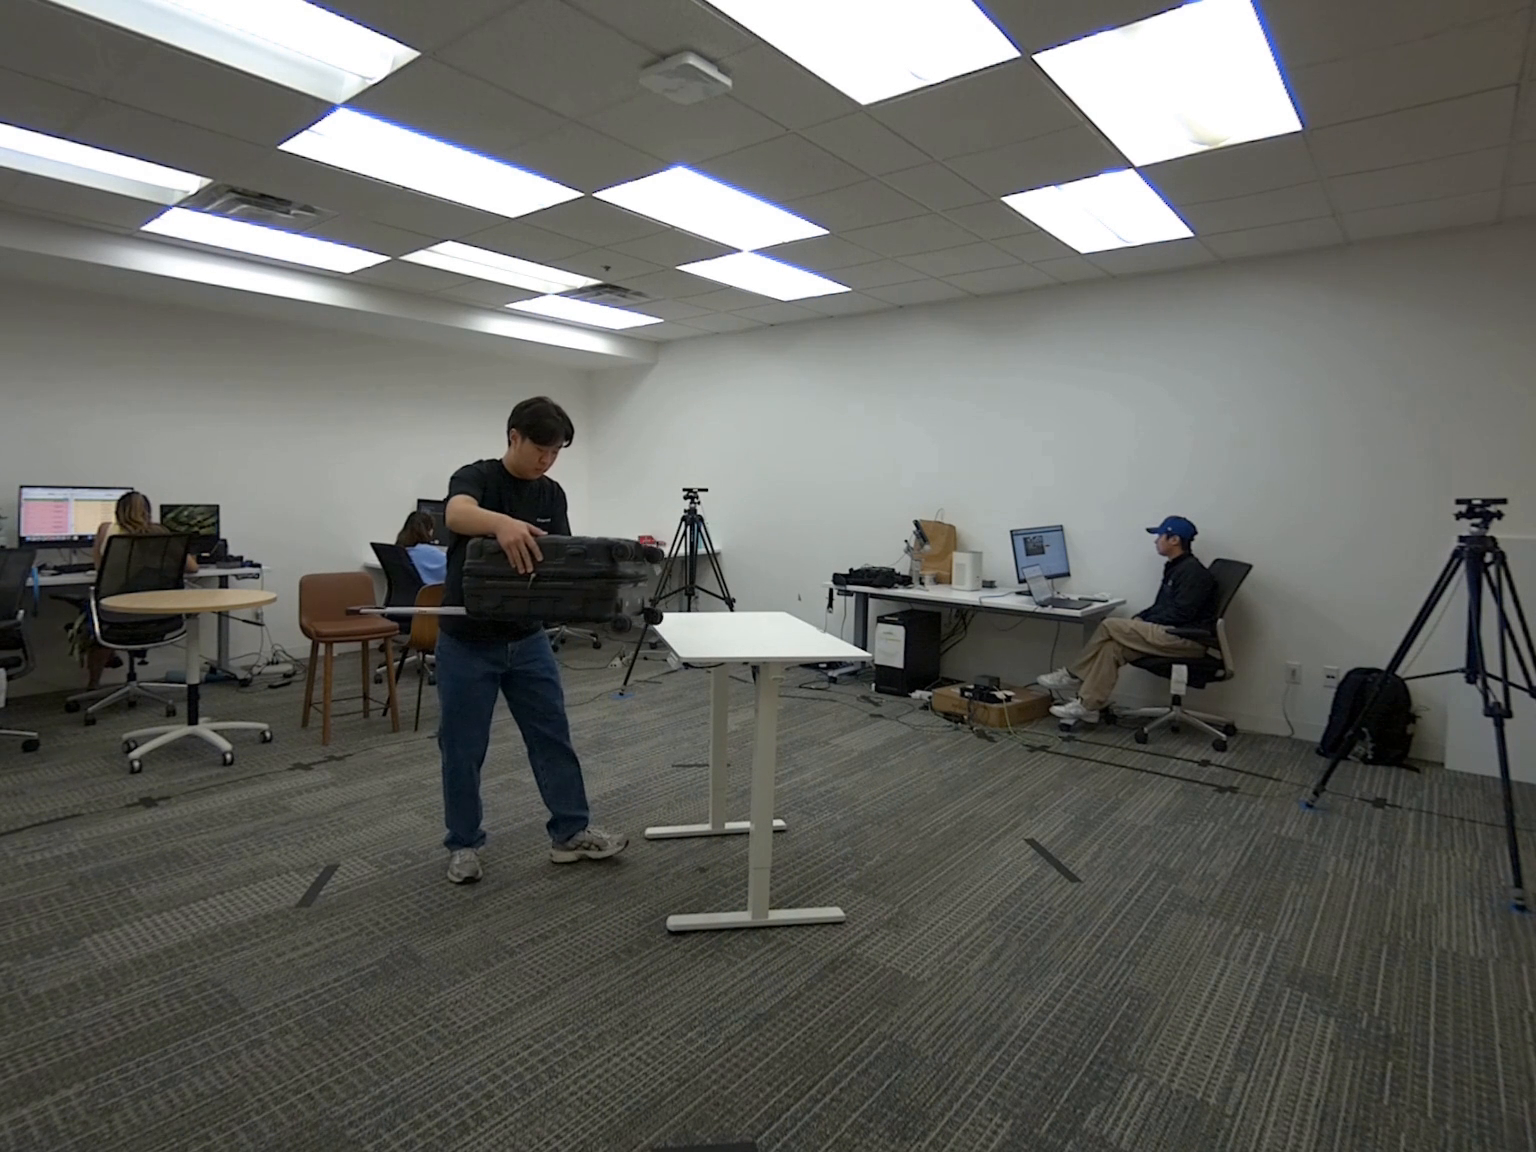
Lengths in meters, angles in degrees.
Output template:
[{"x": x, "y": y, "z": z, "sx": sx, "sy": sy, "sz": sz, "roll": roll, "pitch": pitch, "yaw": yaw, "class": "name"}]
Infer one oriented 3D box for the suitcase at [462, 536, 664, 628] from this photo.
[{"x": -0.840, "y": 0.005, "z": 2.669, "sx": 0.993, "sy": 0.257, "sz": 0.378, "roll": 3, "pitch": 0, "yaw": 13, "class": "suitcase"}]
